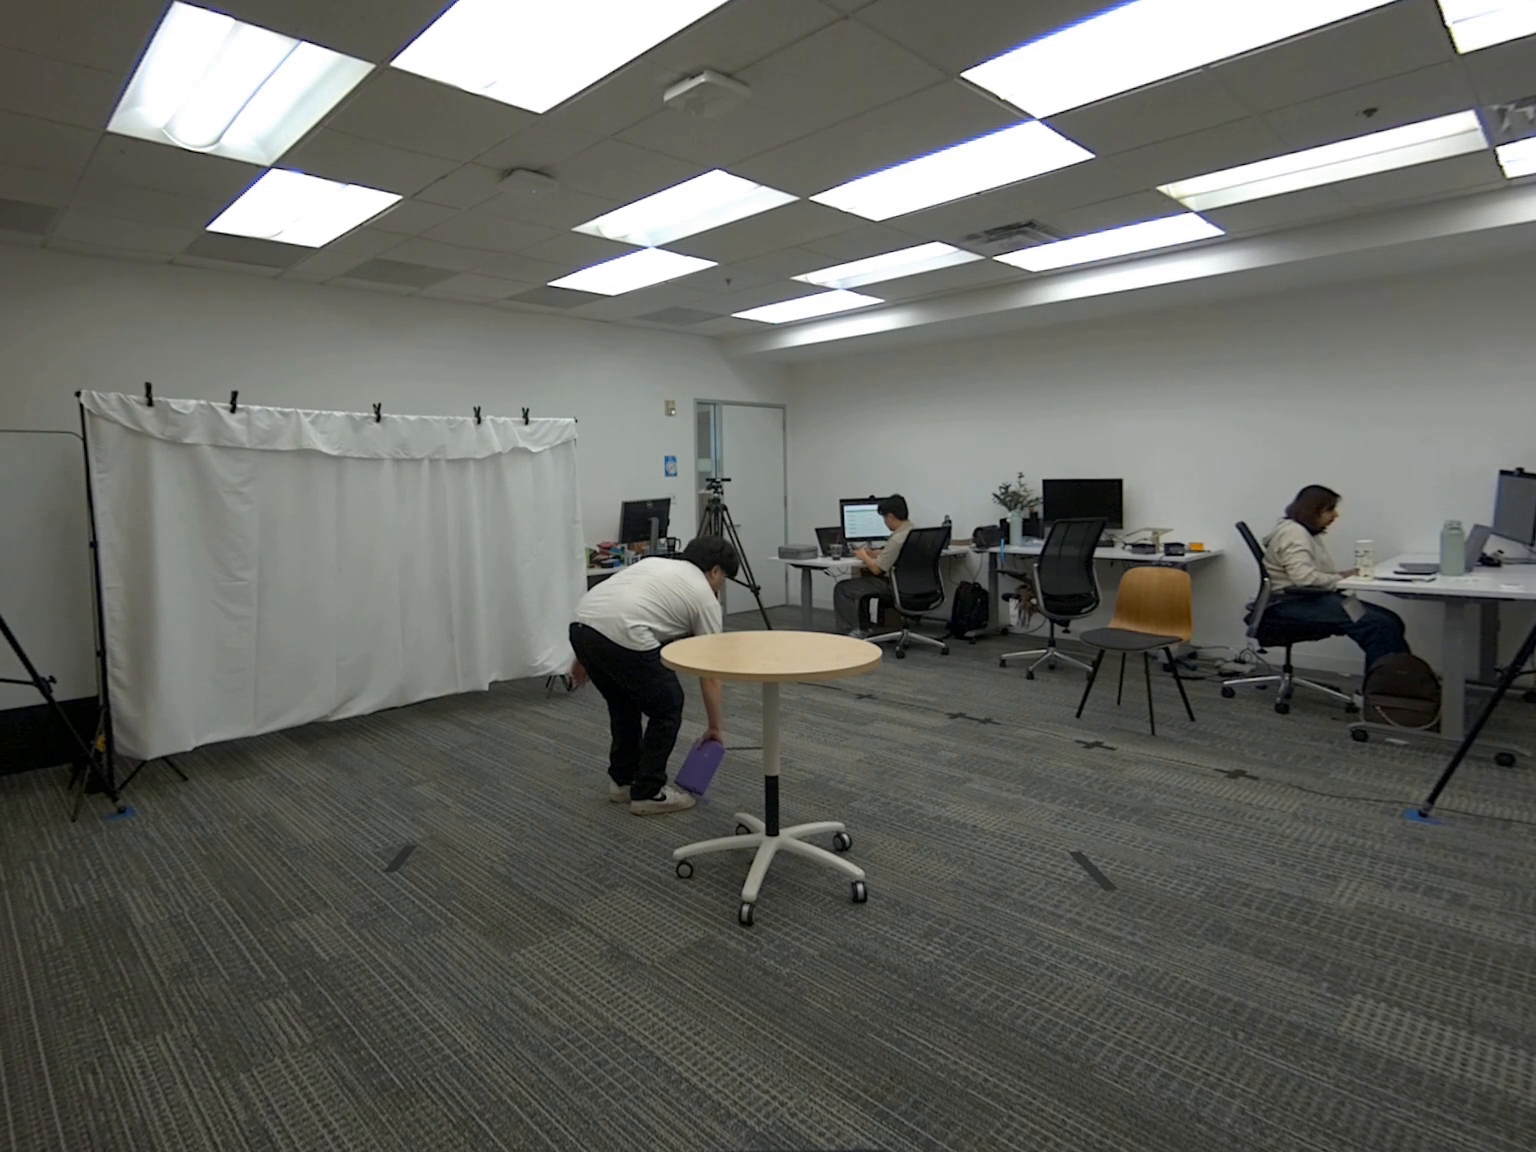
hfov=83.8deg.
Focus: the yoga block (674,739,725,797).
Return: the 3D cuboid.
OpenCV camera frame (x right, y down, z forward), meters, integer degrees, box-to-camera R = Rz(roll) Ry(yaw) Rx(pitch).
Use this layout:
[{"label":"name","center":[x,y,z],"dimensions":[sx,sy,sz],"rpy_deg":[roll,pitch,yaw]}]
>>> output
[{"label":"yoga block","center":[-0.298,0.835,3.748],"dimensions":[0.153,0.231,0.074],"rpy_deg":[-3,-38,49]}]
